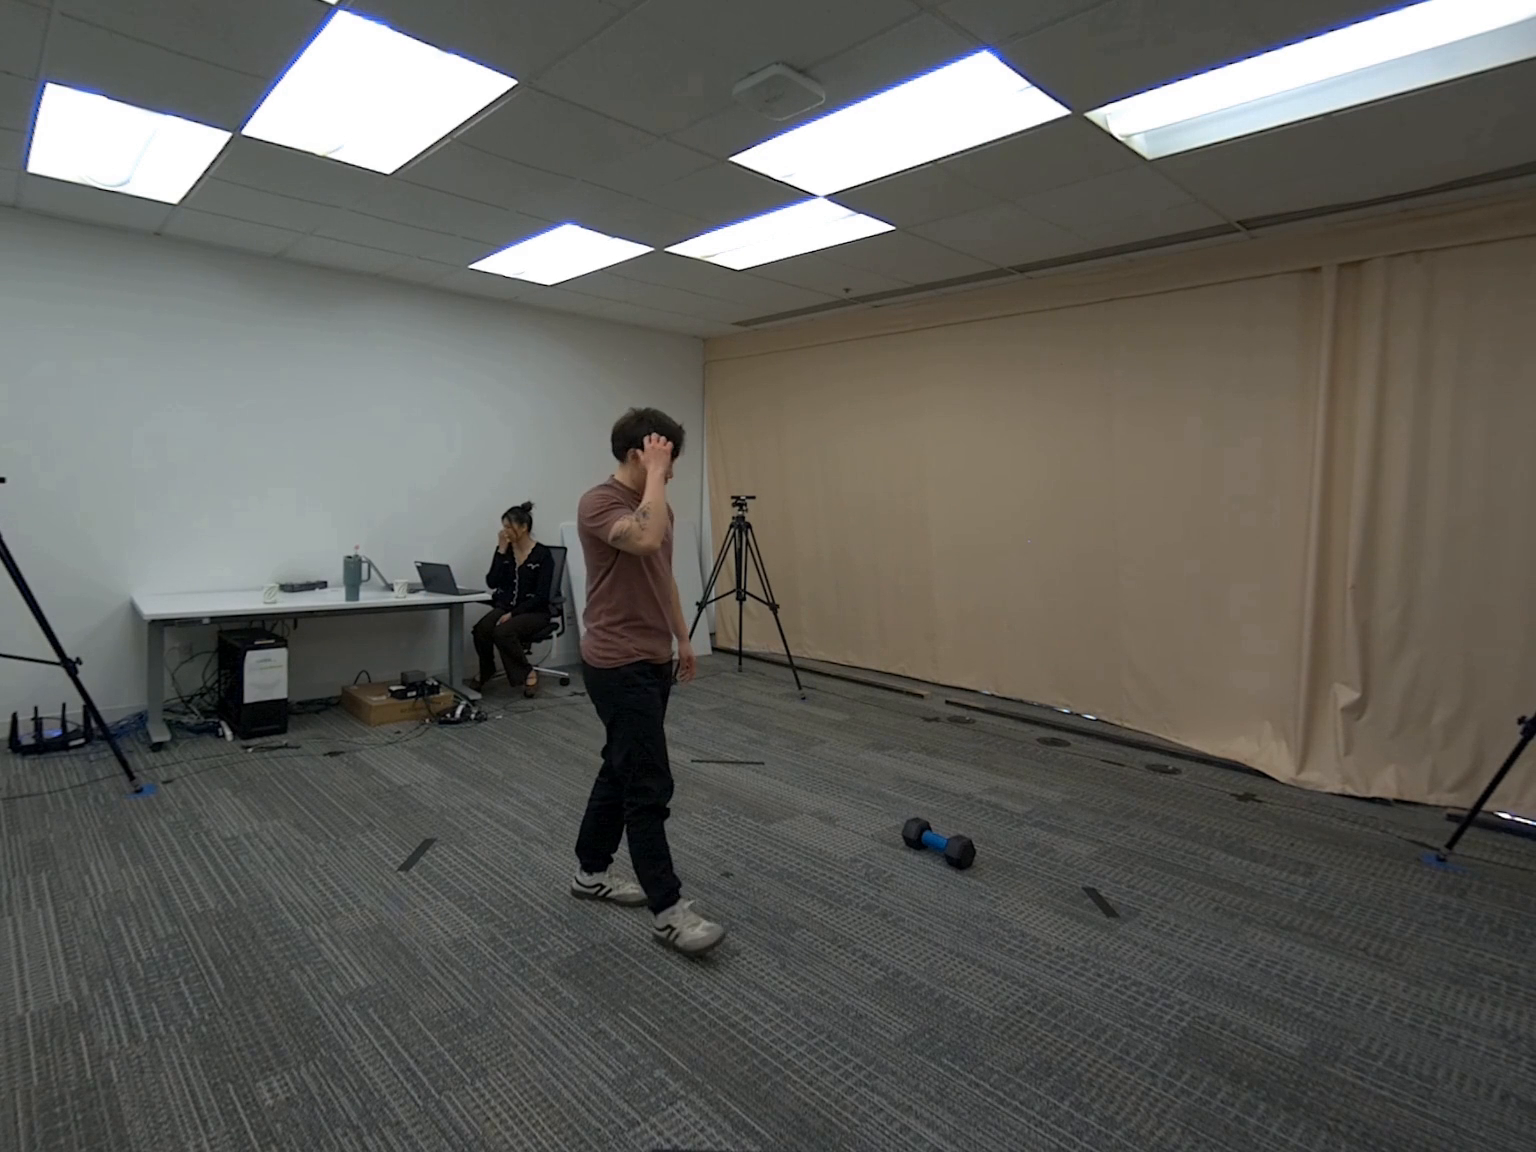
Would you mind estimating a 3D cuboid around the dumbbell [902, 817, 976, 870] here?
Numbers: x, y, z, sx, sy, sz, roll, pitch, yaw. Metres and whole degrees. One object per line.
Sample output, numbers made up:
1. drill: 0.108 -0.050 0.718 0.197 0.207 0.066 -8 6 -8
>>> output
1. dumbbell: 0.660 1.050 3.317 0.120 0.108 0.301 -1 6 -38
